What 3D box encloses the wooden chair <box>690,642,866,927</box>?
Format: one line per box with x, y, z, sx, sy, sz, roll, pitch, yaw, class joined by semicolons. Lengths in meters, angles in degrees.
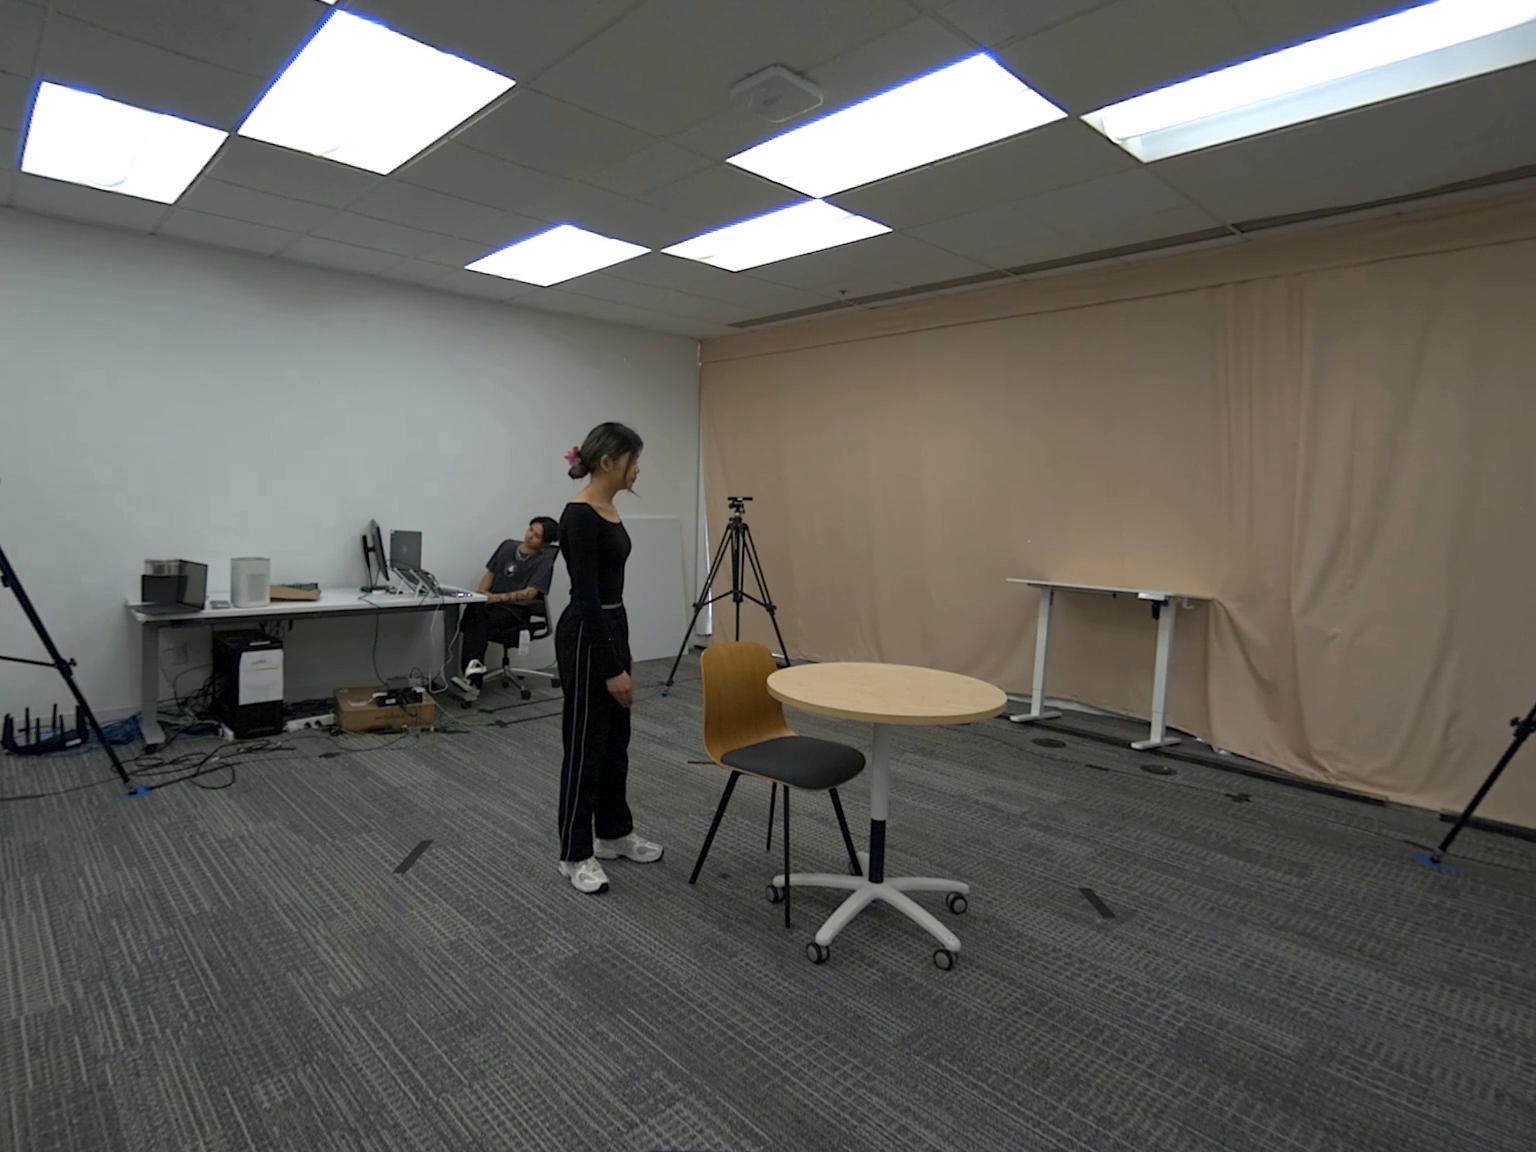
0.044;0.690;3.014;0.535;0.878;0.467;-2;0;41;wooden chair
